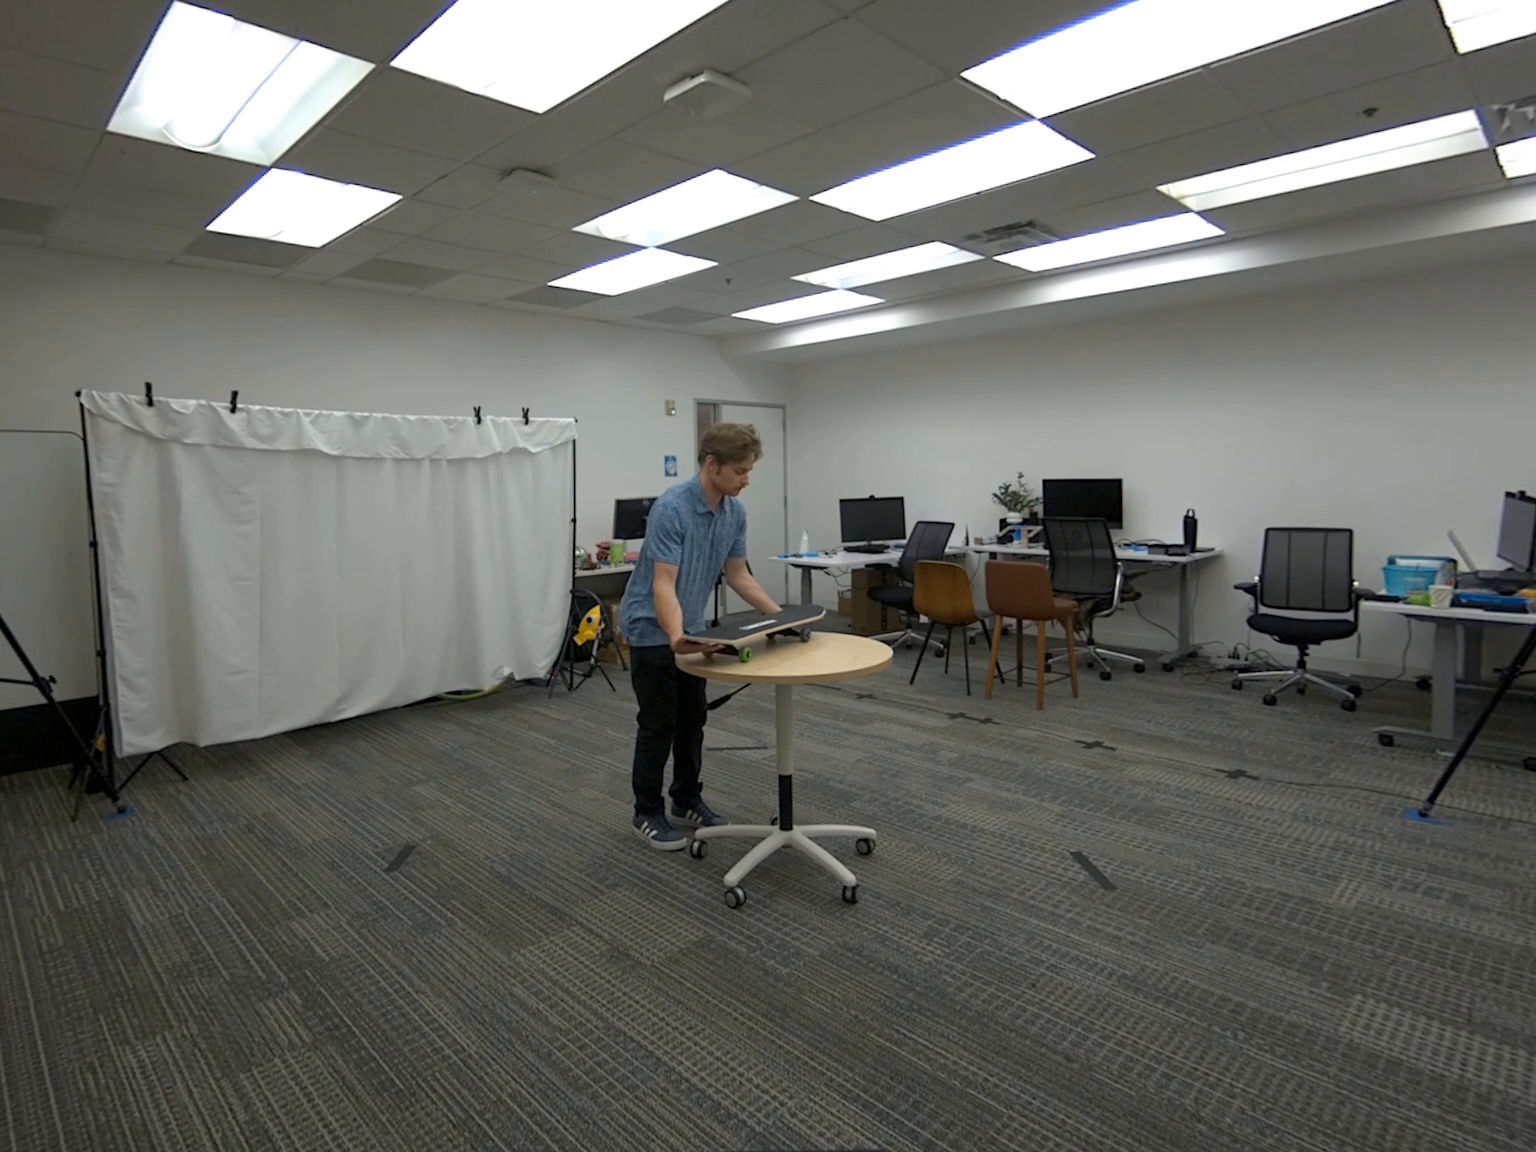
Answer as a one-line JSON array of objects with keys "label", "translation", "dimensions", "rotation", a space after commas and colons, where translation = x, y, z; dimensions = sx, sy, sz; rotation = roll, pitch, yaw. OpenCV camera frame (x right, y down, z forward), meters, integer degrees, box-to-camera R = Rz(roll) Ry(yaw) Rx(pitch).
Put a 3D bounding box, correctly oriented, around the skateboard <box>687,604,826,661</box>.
[{"label": "skateboard", "translation": [-0.036, 0.209, 3.062], "dimensions": [0.199, 0.110, 0.767], "rotation": [0, 6, 34]}]
